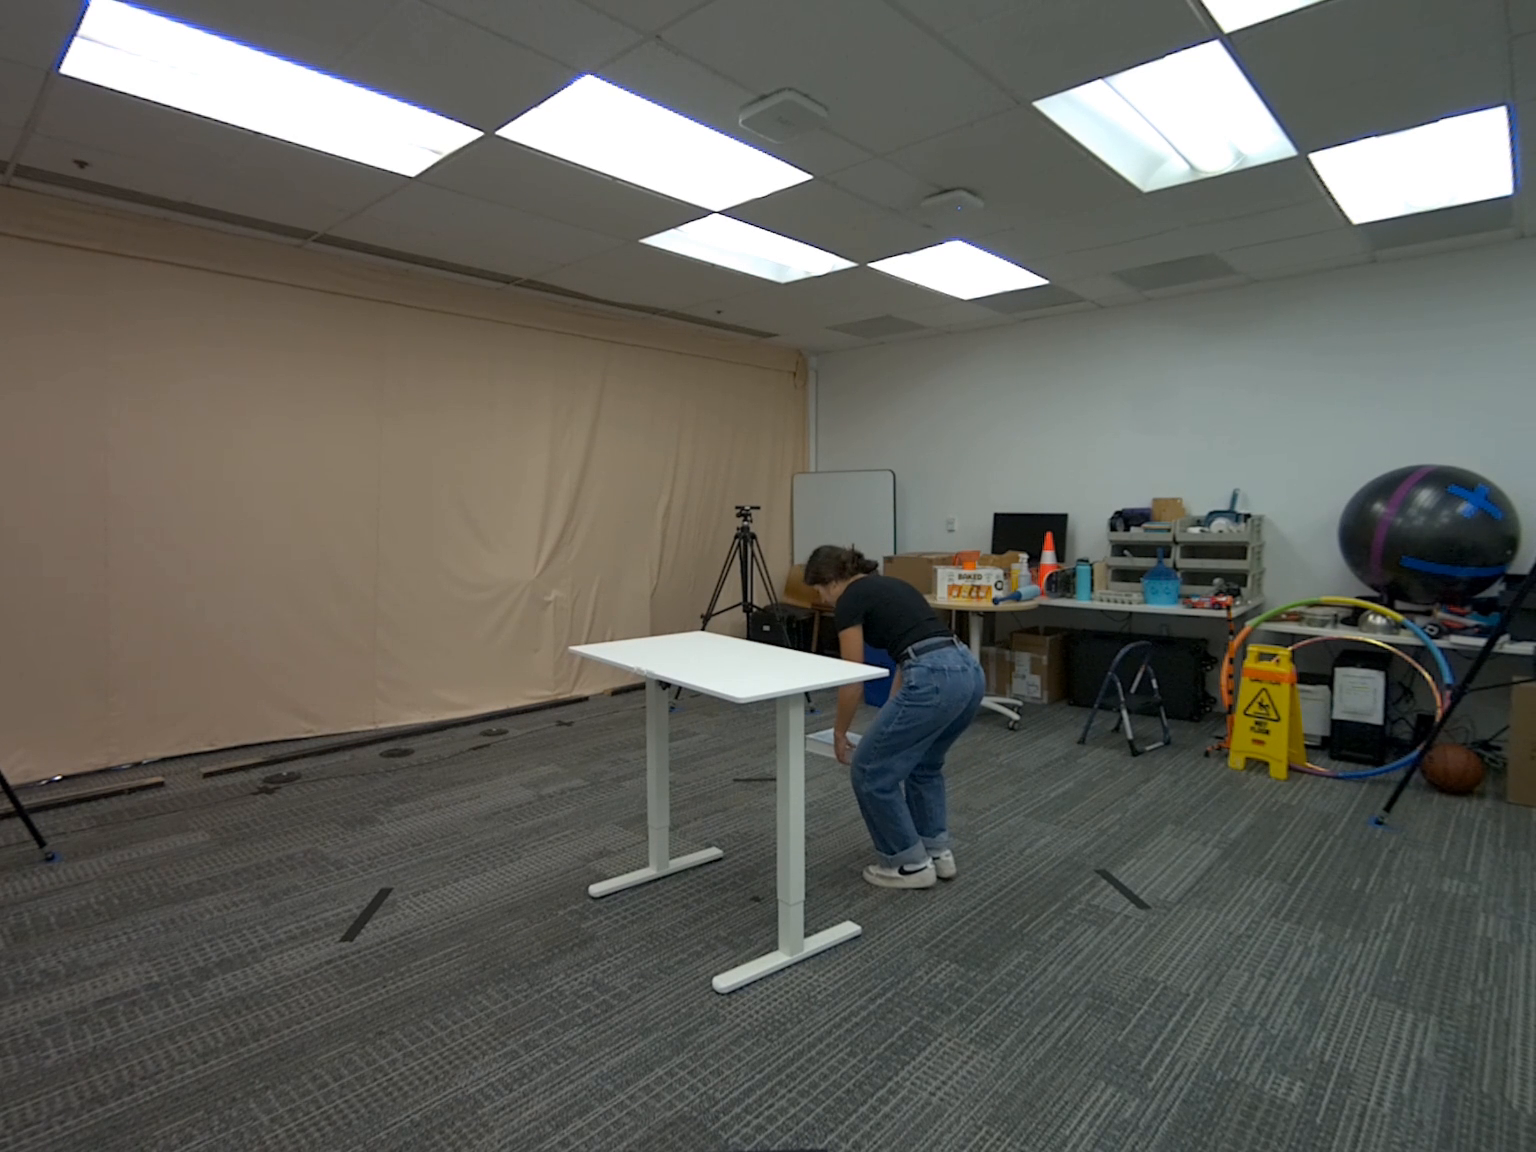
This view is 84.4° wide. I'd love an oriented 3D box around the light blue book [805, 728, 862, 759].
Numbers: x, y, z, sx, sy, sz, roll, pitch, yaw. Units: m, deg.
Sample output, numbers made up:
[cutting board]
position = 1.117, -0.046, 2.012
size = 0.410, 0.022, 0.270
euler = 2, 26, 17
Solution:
[light blue book]
position = 0.312, 0.683, 3.364
size = 0.270, 0.059, 0.185
euler = 6, 7, 43
